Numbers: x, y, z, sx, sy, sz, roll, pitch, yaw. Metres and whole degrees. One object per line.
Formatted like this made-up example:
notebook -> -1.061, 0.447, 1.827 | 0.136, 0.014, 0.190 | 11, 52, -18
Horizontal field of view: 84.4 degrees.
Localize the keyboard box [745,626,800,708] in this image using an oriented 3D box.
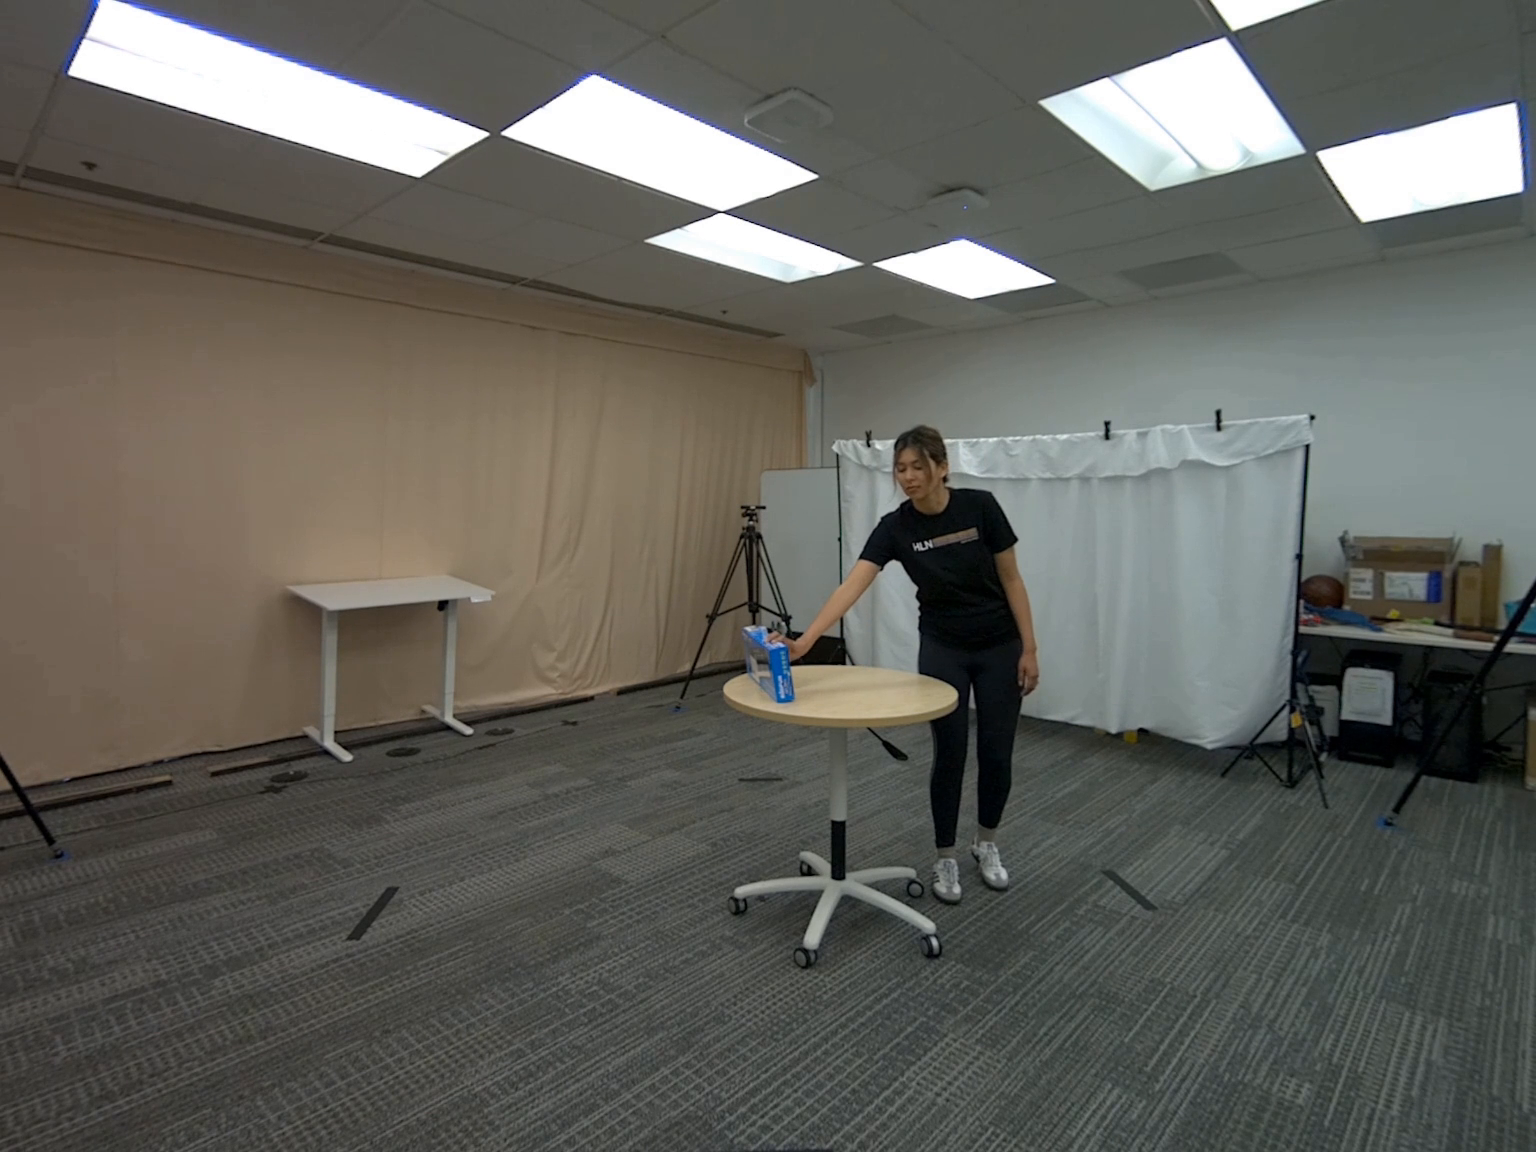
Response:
keyboard box -> 0.007, 0.291, 2.813 | 0.058, 0.175, 0.444 | -7, 6, -13
